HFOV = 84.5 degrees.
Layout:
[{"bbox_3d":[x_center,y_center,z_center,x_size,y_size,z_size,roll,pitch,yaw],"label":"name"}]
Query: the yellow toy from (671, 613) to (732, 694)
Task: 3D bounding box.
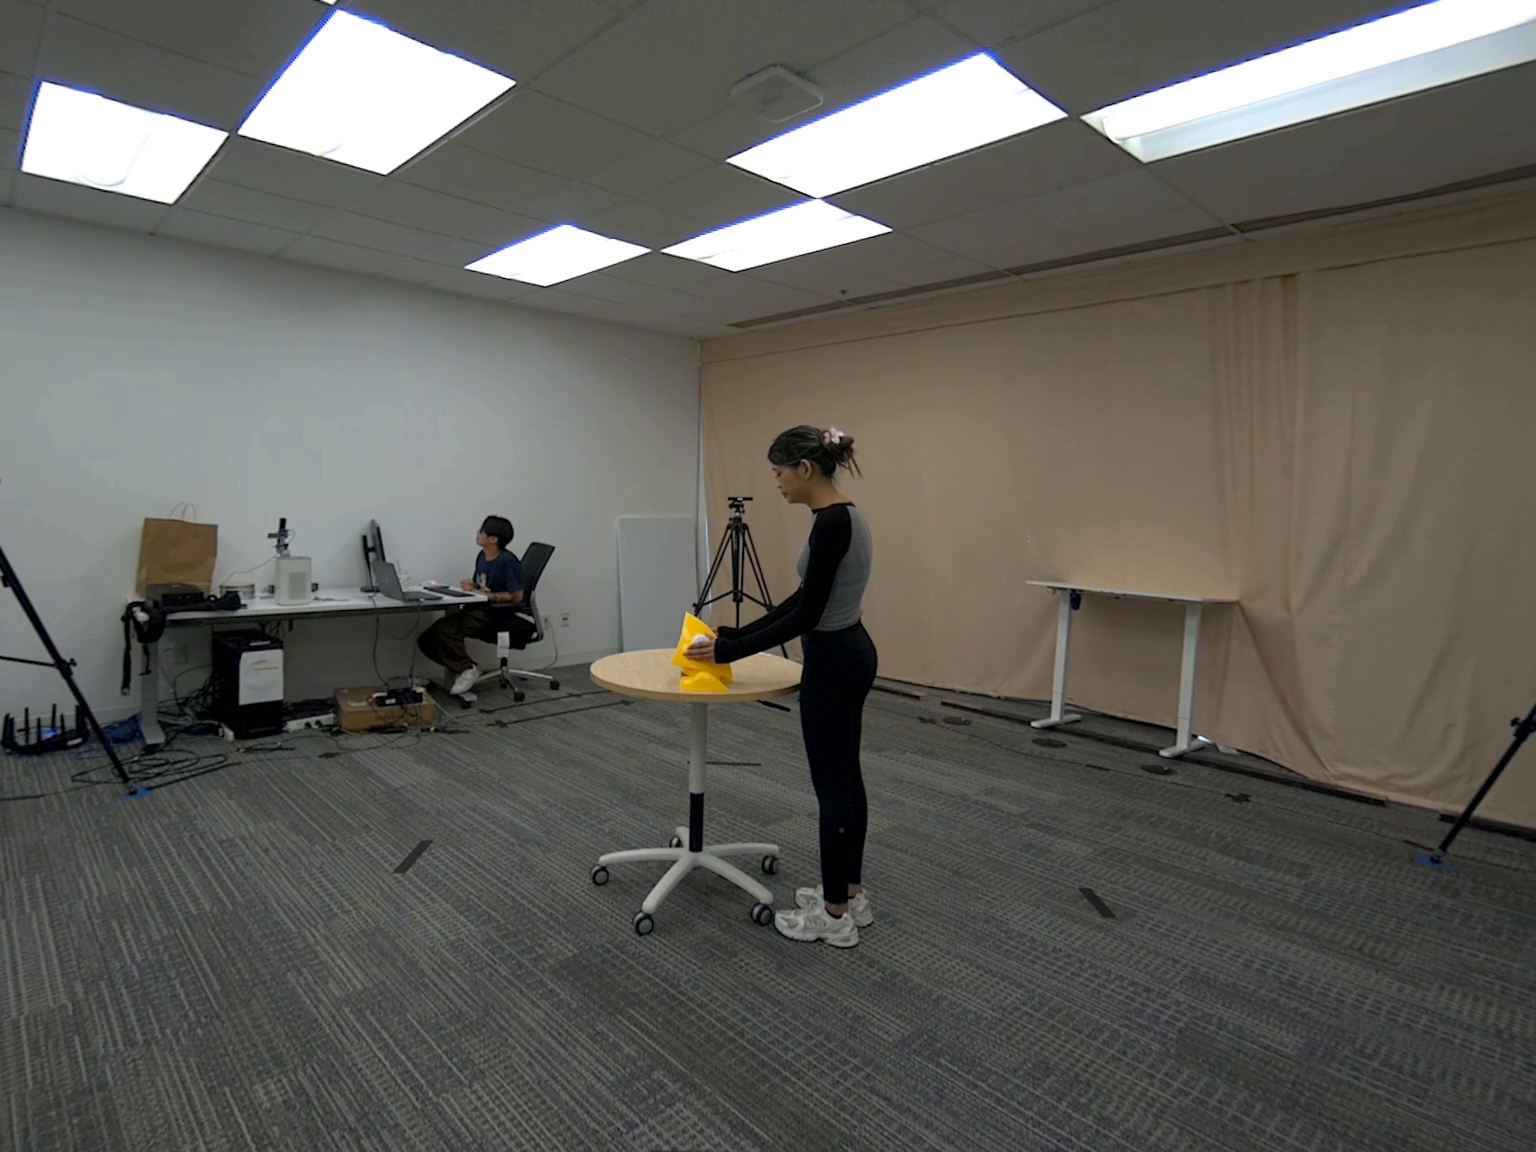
[{"bbox_3d":[-0.207,0.234,2.709,0.194,0.230,0.204,2,5,6],"label":"yellow toy"}]
